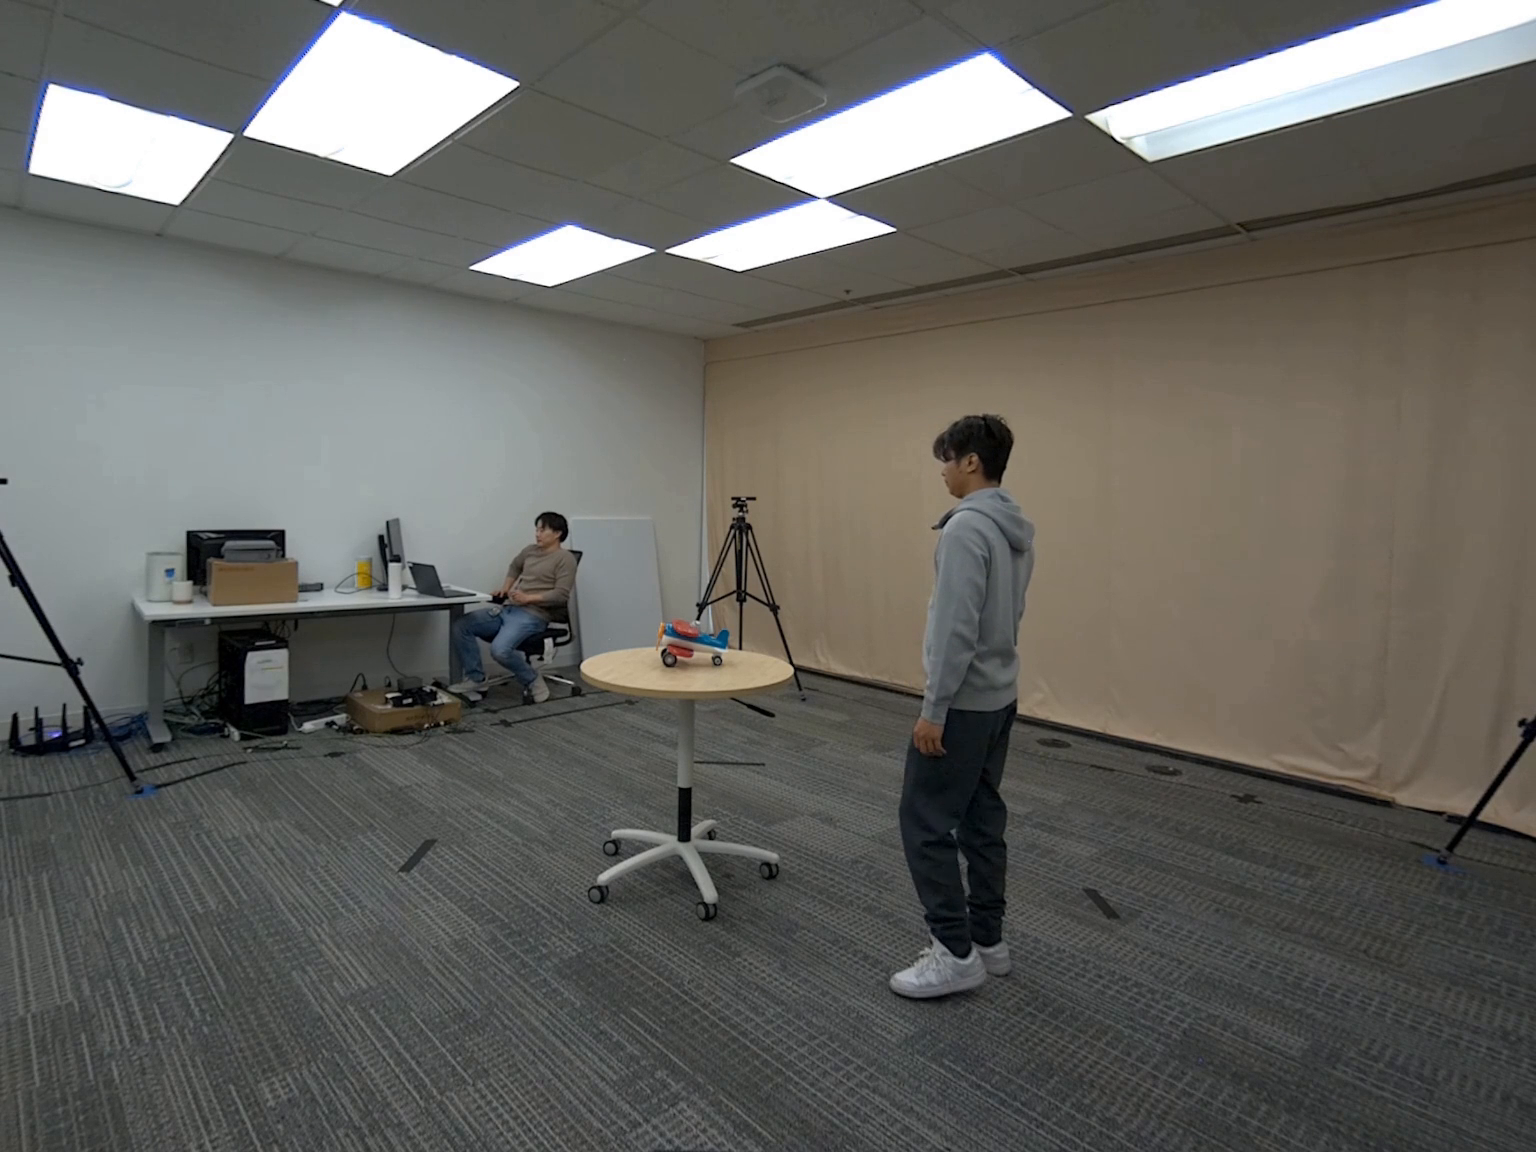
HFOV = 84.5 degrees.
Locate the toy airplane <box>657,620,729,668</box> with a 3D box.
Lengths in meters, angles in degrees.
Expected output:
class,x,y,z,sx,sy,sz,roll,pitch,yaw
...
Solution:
class,x,y,z,sx,sy,sz,roll,pitch,yaw
toy airplane,-0.289,0.244,3.082,0.253,0.156,0.257,-3,5,-36
